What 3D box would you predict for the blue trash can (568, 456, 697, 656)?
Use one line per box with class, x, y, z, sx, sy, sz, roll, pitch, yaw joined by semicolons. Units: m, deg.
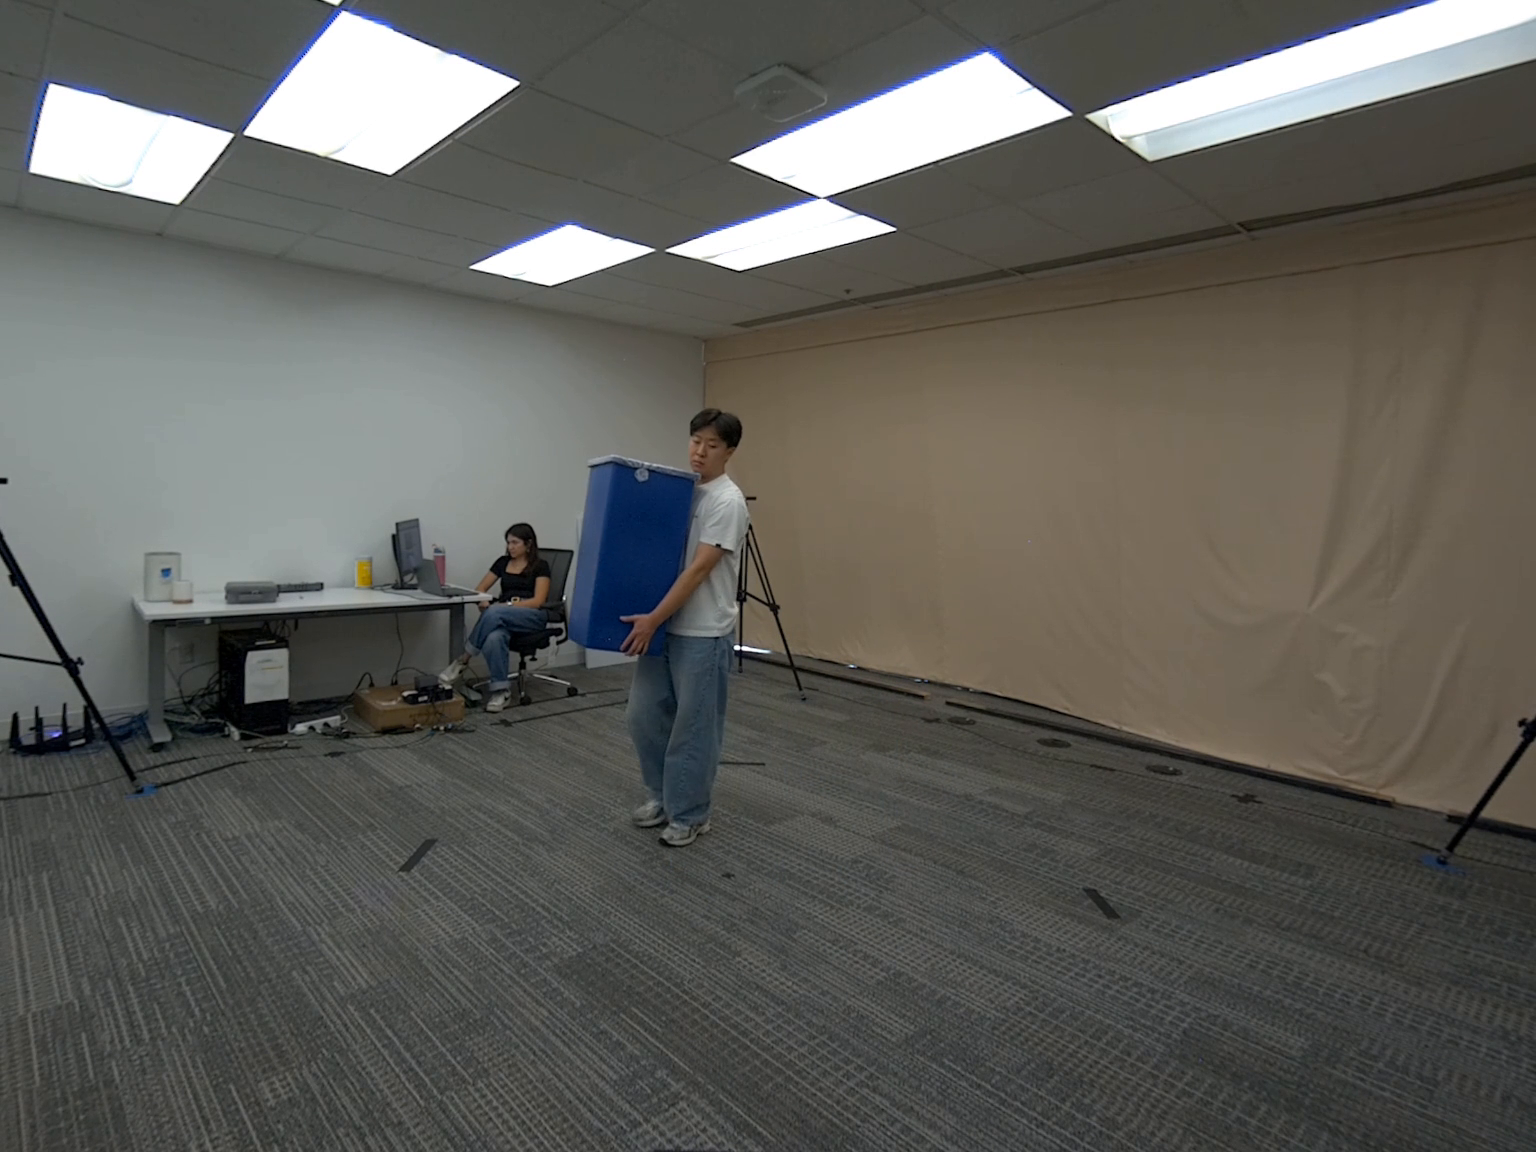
blue trash can;-0.560;-0.078;3.290;0.370;0.714;0.381;11;-2;-26
